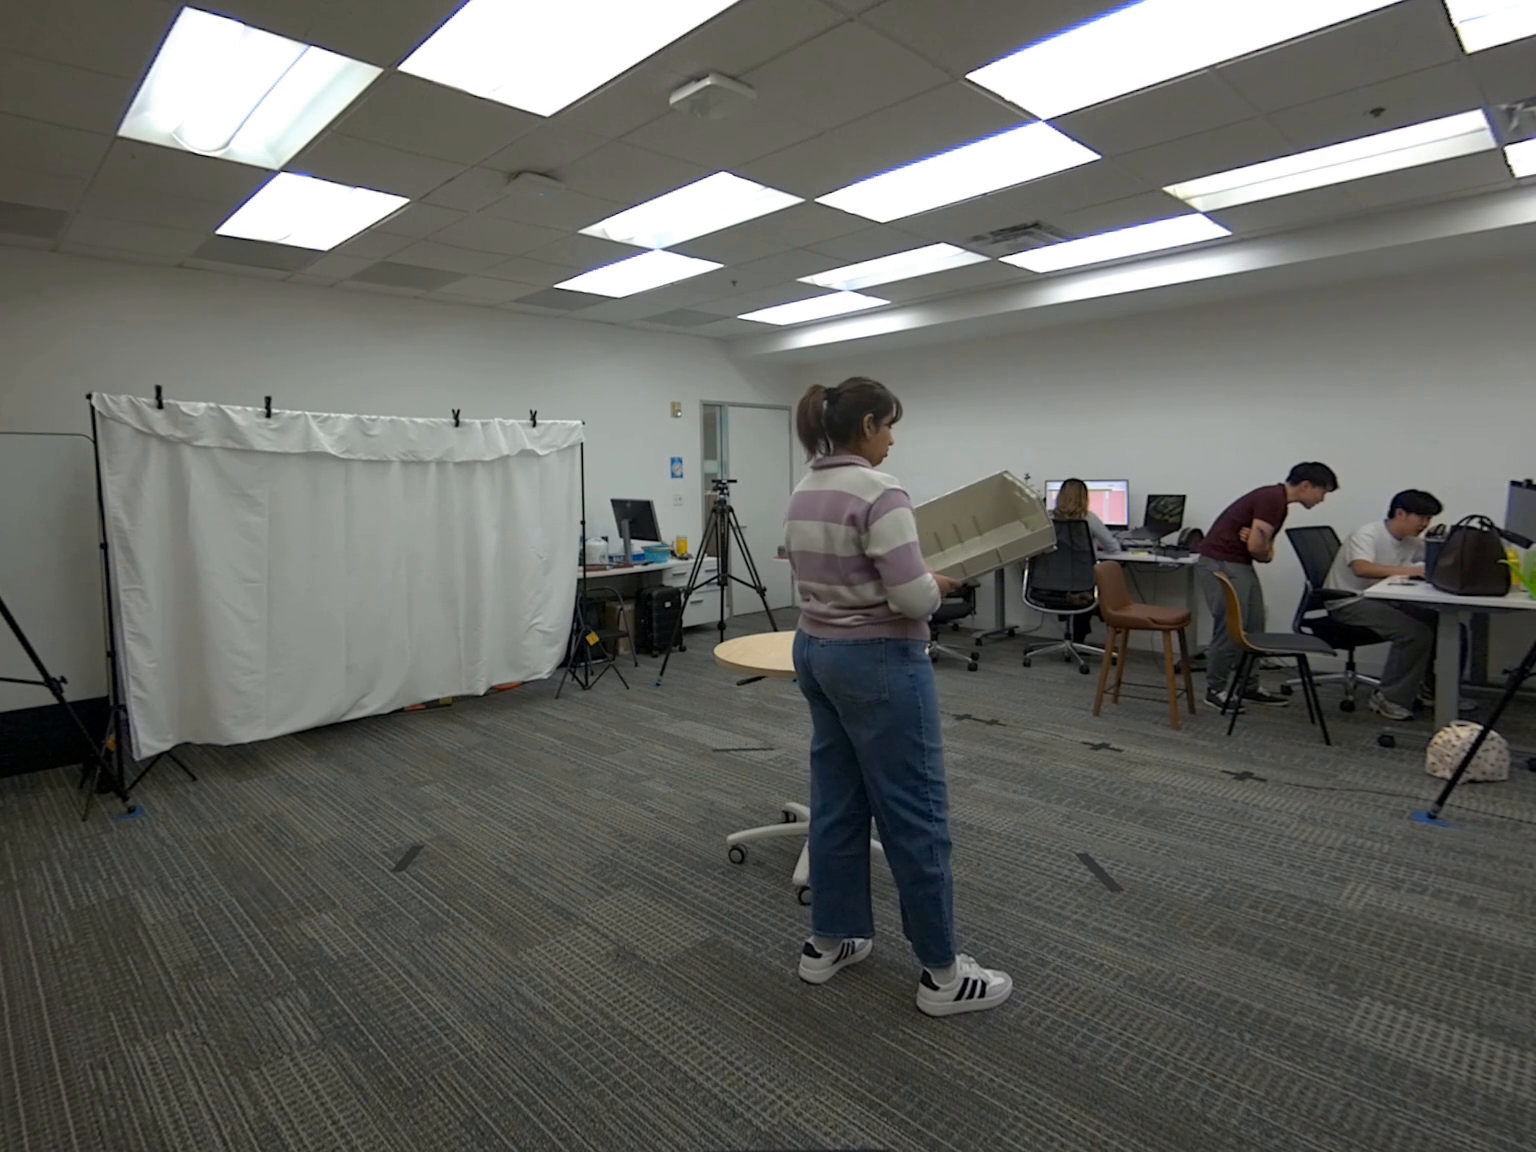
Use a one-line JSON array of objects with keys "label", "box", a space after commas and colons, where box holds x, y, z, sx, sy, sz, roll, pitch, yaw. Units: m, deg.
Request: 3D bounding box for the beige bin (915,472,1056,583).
[{"label": "beige bin", "box": [0.589, -0.112, 2.525, 0.424, 0.186, 0.381, -23, 14, 9]}]
